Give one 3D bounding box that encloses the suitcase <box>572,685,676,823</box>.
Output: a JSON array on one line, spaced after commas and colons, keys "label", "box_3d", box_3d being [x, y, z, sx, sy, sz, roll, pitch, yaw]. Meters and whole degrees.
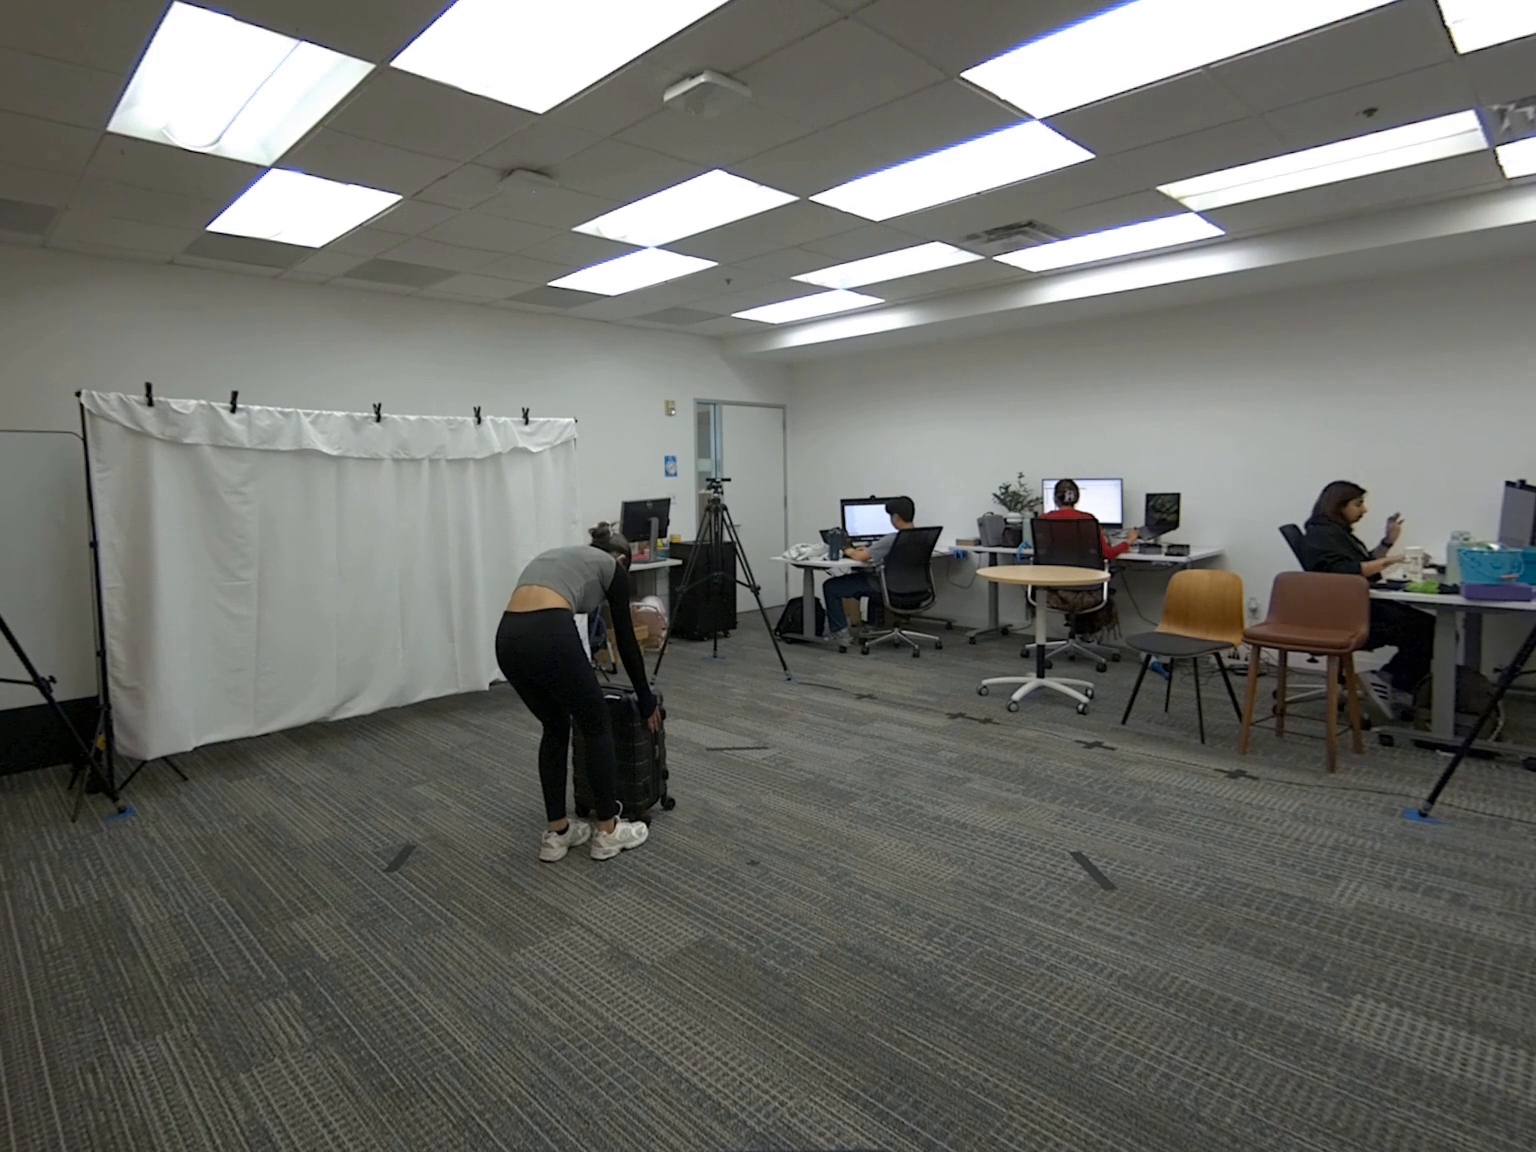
[{"label": "suitcase", "box_3d": [-0.623, 0.725, 3.580, 0.384, 0.547, 0.244, 0, 4, 24]}]
